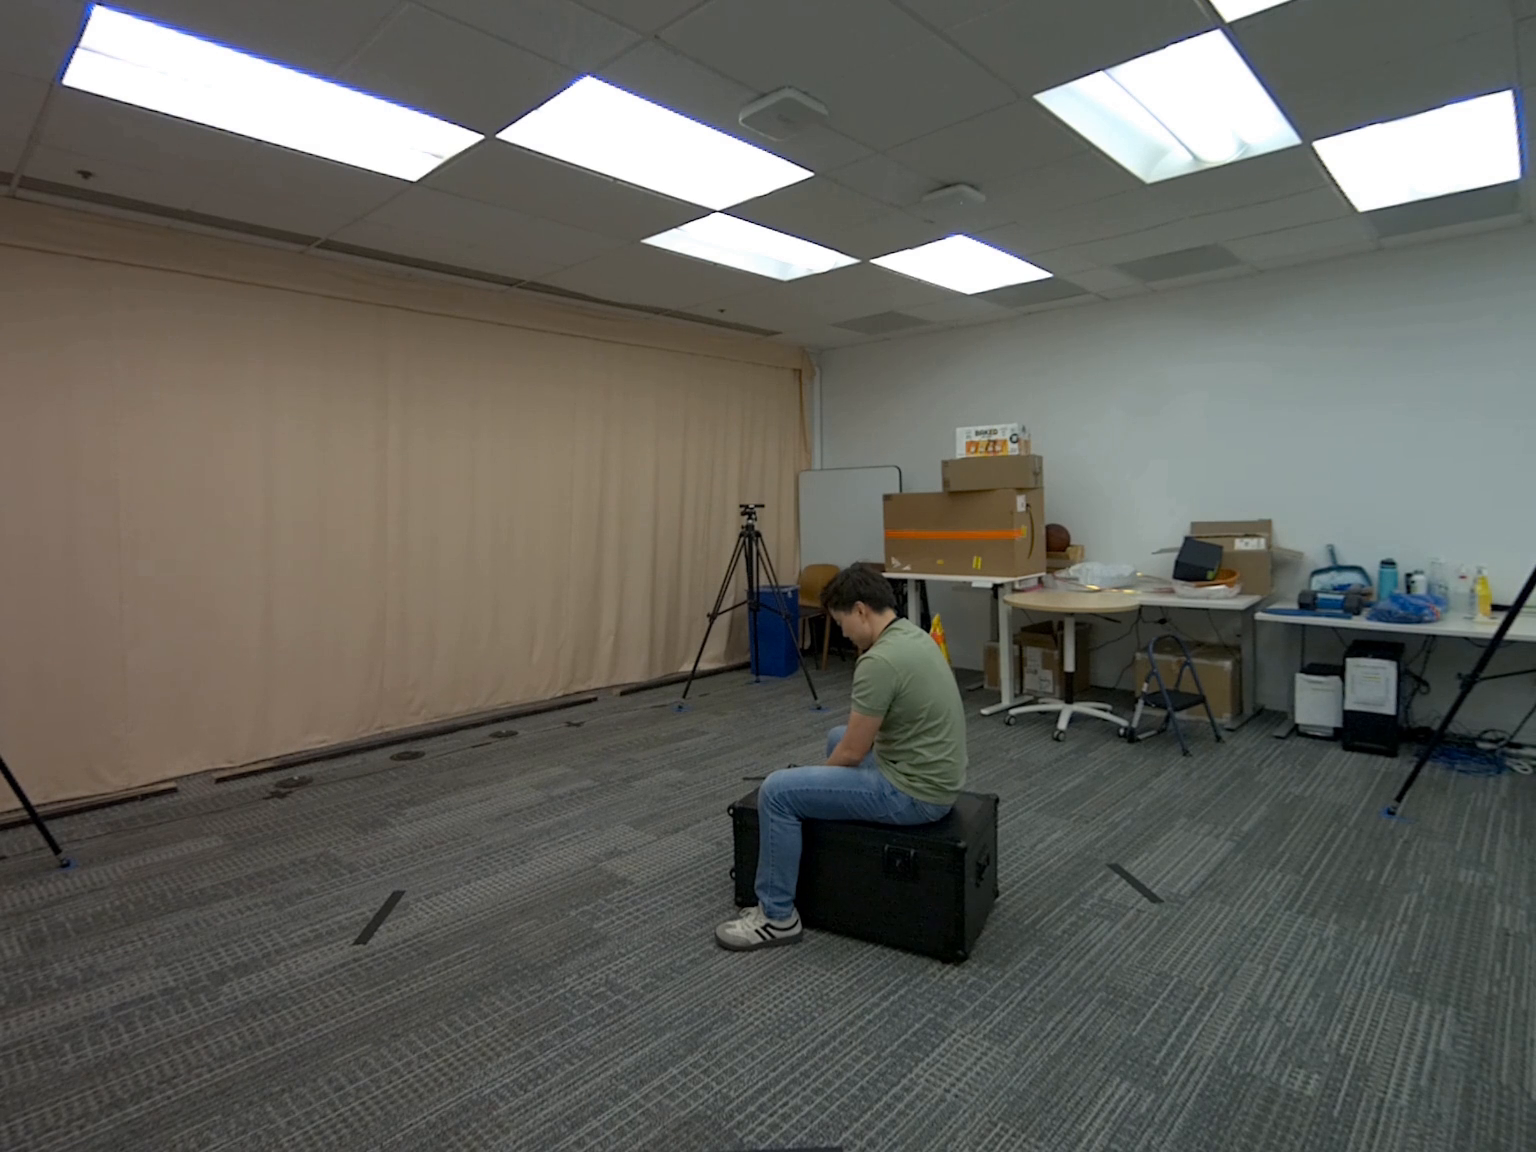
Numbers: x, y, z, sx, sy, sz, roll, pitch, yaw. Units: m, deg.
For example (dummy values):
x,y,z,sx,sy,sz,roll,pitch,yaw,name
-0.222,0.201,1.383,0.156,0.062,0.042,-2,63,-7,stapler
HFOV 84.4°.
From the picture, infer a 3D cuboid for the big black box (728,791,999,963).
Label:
x,y,z,sx,sy,sz,roll,pitch,yaw,name
0.316,0.952,2.901,0.885,0.395,0.509,3,6,28,big black box
